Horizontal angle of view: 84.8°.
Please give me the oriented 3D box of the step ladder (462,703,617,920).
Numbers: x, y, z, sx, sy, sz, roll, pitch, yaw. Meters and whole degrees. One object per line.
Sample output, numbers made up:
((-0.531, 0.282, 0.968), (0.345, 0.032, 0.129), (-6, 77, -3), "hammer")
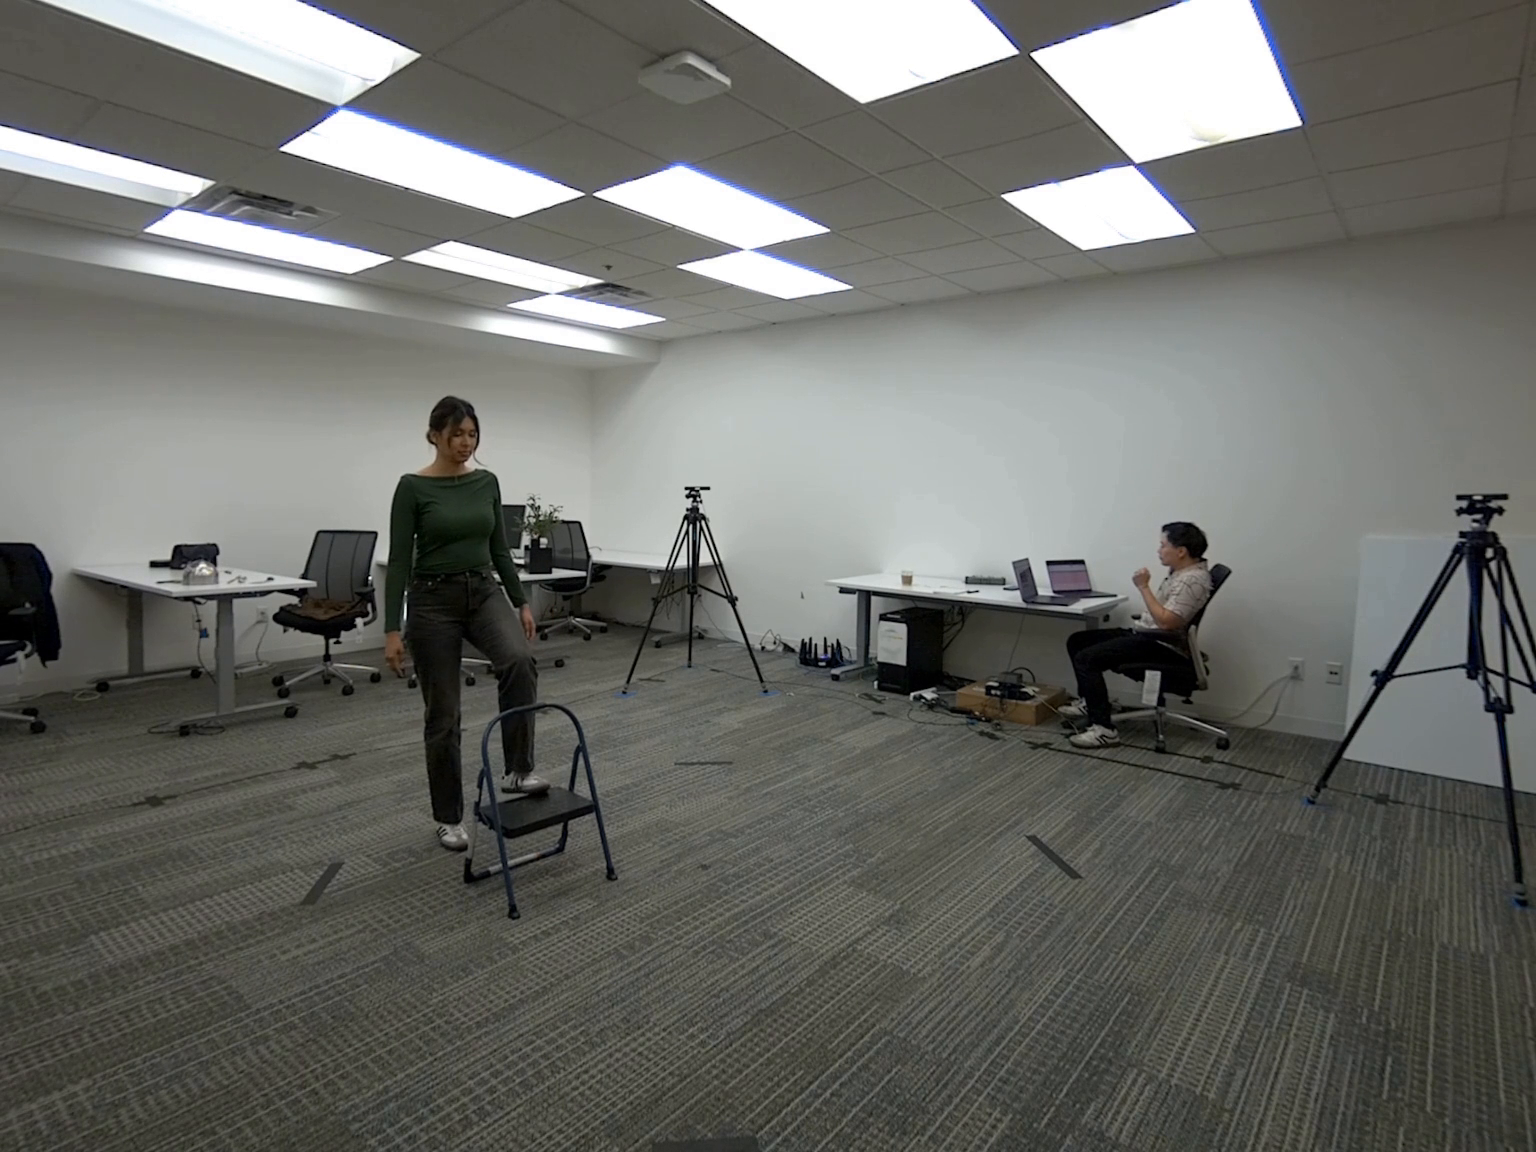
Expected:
((-0.808, 0.767, 2.976), (0.361, 0.604, 0.417), (3, 4, 43), "step ladder")
